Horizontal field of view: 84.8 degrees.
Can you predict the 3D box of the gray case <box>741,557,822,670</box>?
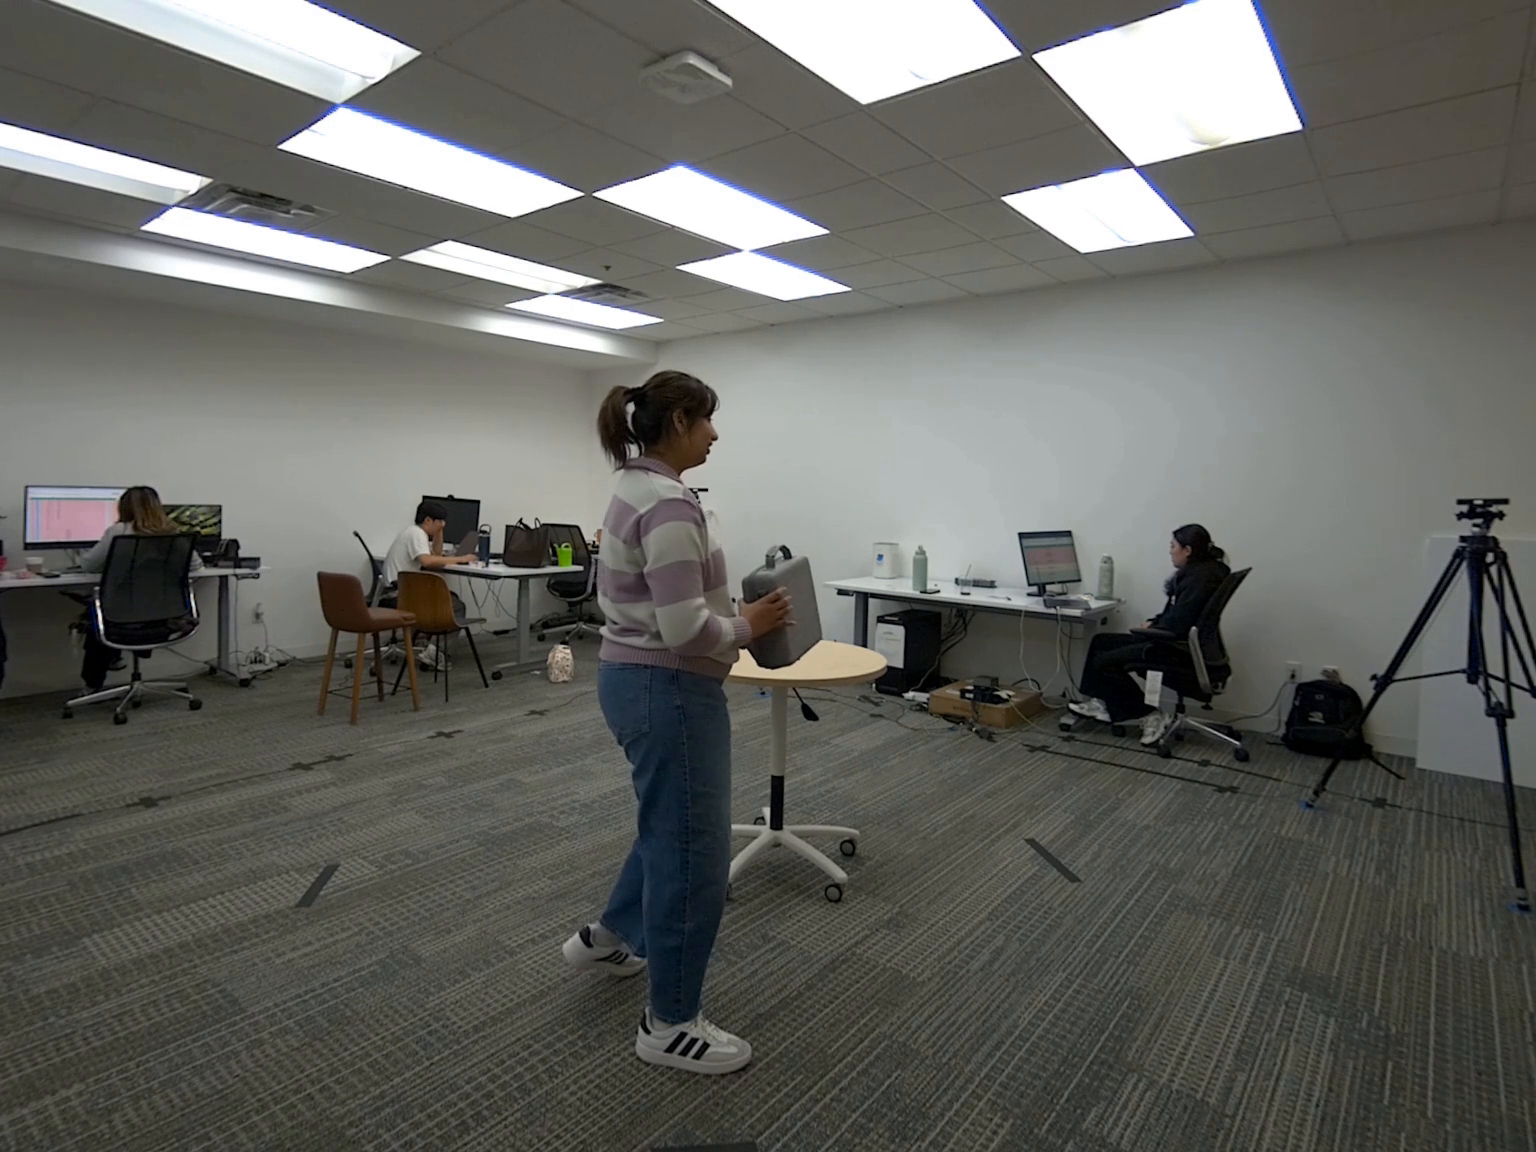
[{"bbox_3d":[0.030,0.085,2.241,0.107,0.258,0.253,-6,11,29],"label":"gray case"}]
